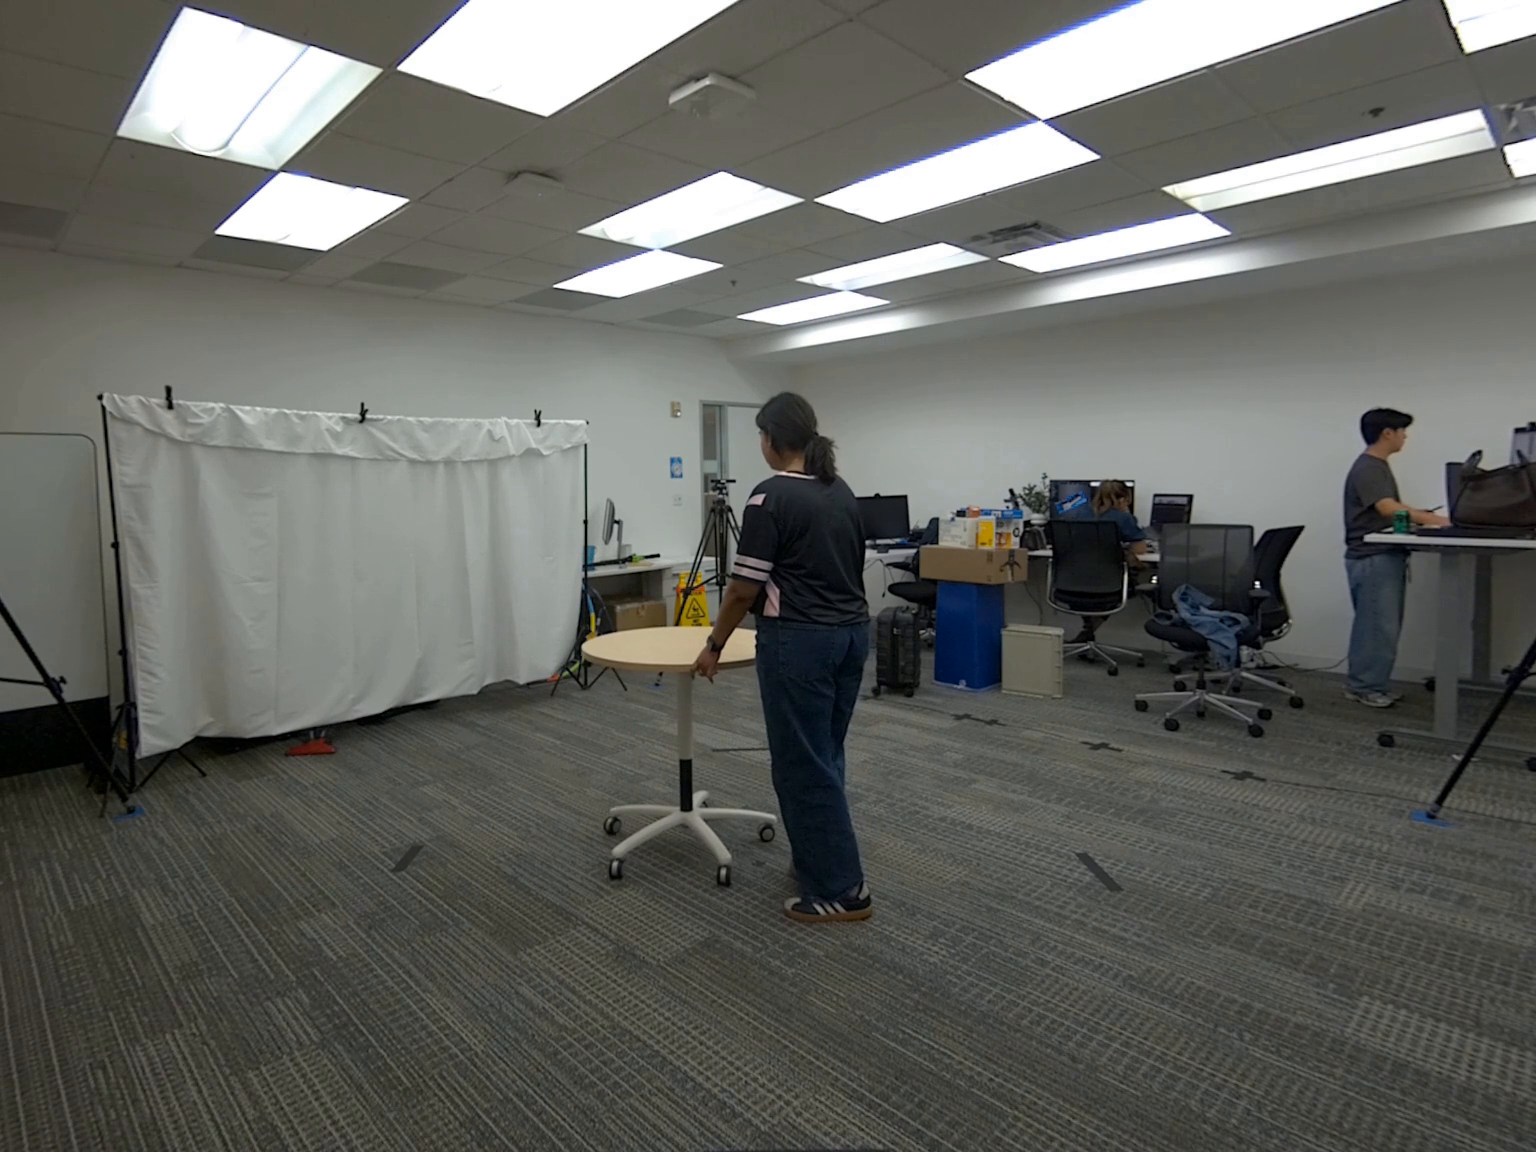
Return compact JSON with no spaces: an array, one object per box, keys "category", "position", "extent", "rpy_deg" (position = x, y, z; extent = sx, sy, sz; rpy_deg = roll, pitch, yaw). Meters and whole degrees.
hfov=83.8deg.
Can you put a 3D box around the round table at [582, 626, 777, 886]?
[{"category":"round table","position":[-0.312,0.642,3.234],"extent":[0.784,0.784,0.788],"rpy_deg":[-1,4,-2]}]
